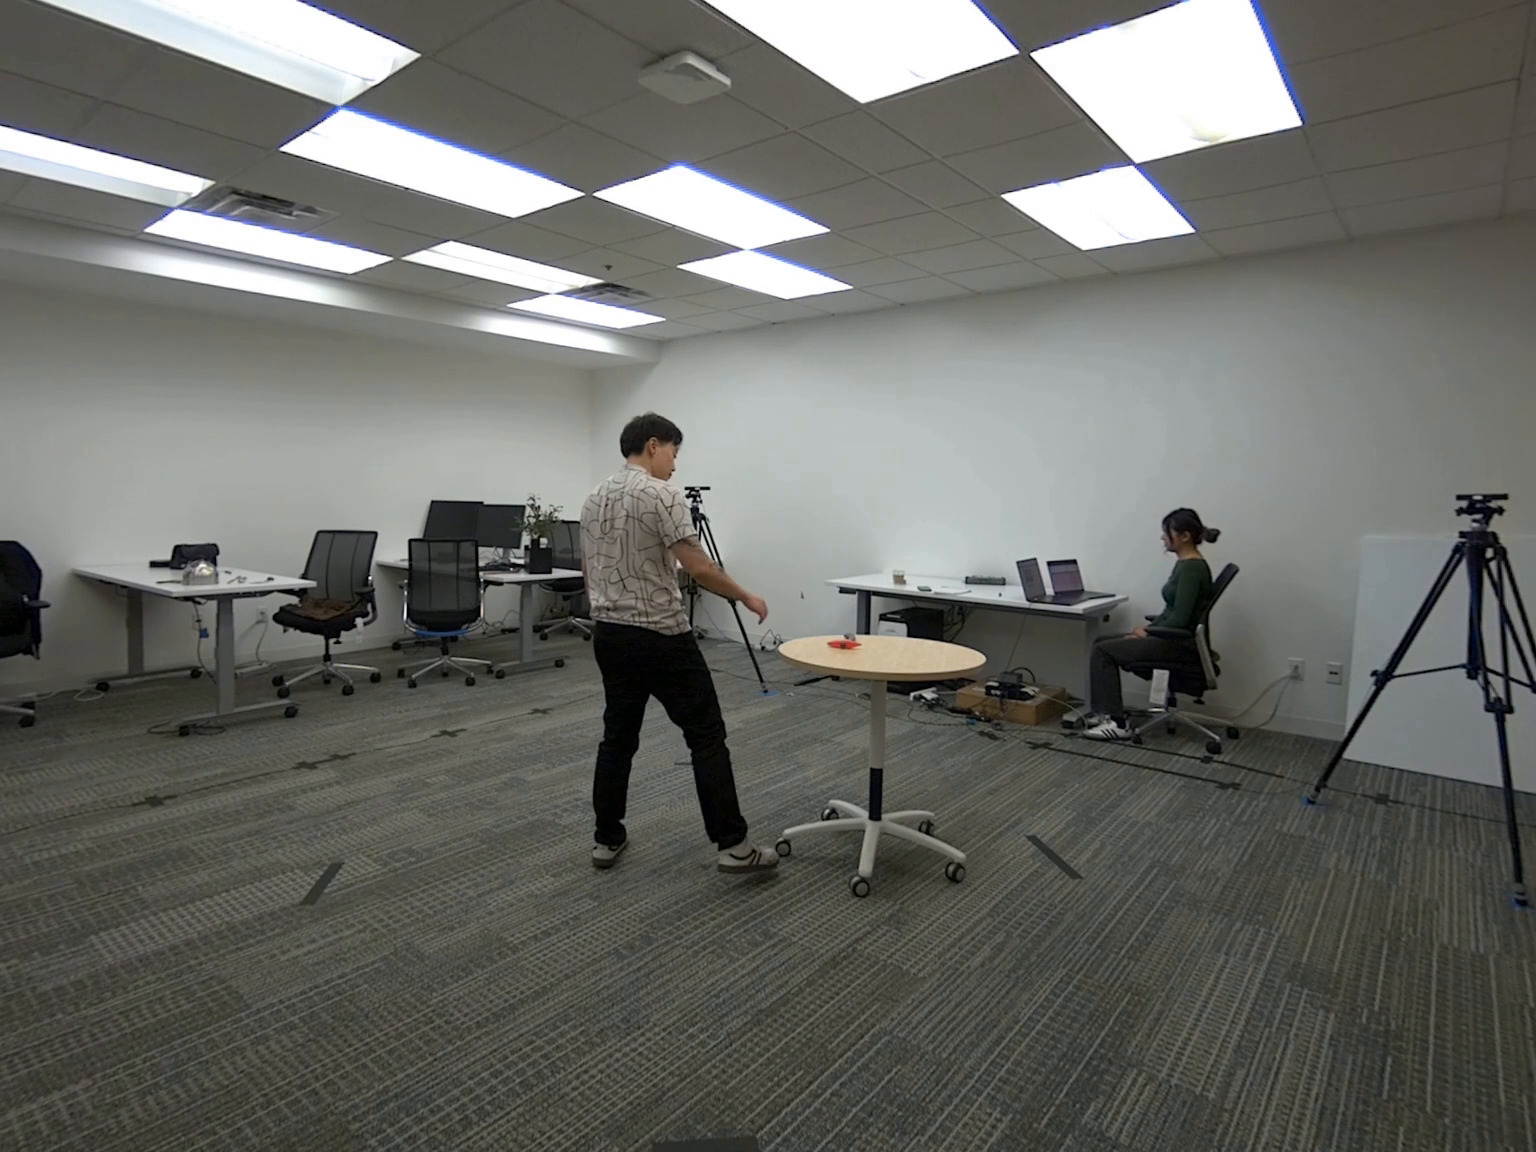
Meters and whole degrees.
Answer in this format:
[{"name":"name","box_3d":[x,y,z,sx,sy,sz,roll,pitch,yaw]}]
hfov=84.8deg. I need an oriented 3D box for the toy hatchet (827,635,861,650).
[{"name":"toy hatchet","box_3d":[0.283,0.257,3.379,0.131,0.029,0.270,-2,4,-1]}]
